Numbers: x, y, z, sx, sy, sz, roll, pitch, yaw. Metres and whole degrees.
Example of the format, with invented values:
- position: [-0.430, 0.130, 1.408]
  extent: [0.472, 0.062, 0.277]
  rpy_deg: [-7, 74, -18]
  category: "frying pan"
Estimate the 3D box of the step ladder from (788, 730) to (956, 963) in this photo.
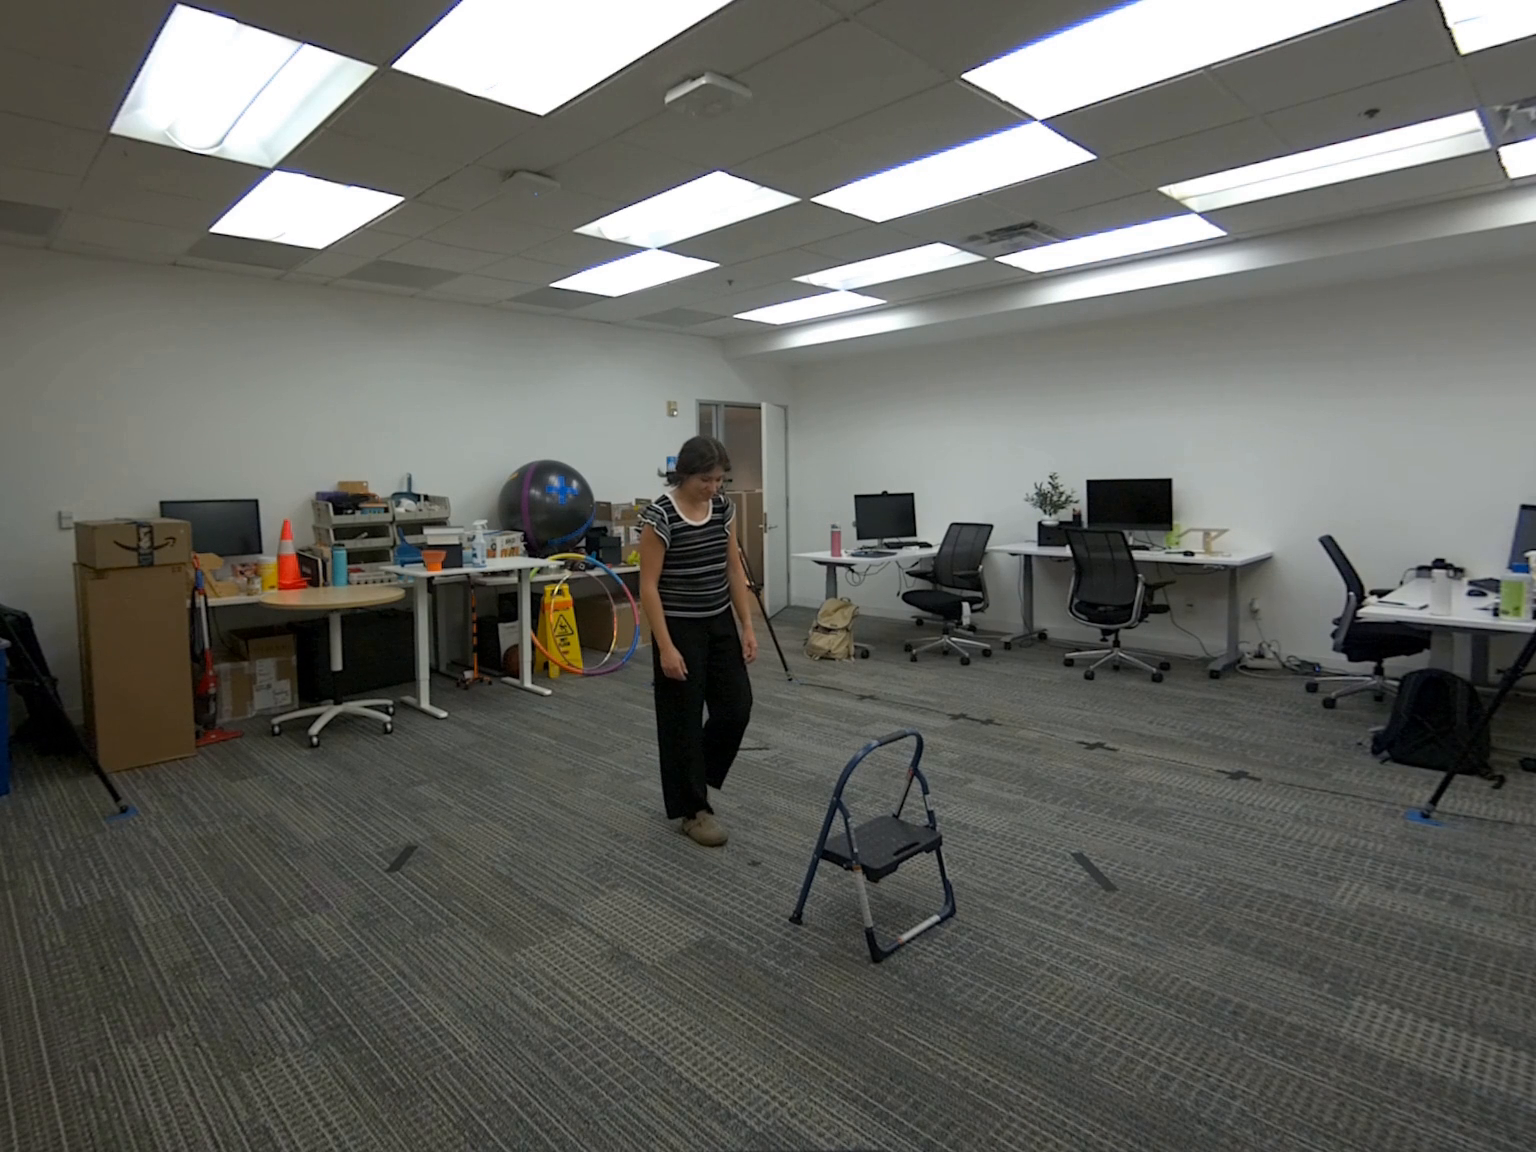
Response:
- position: [0.333, 0.784, 2.694]
  extent: [0.419, 0.604, 0.360]
  rpy_deg: [-5, 6, -45]
  category: "step ladder"
